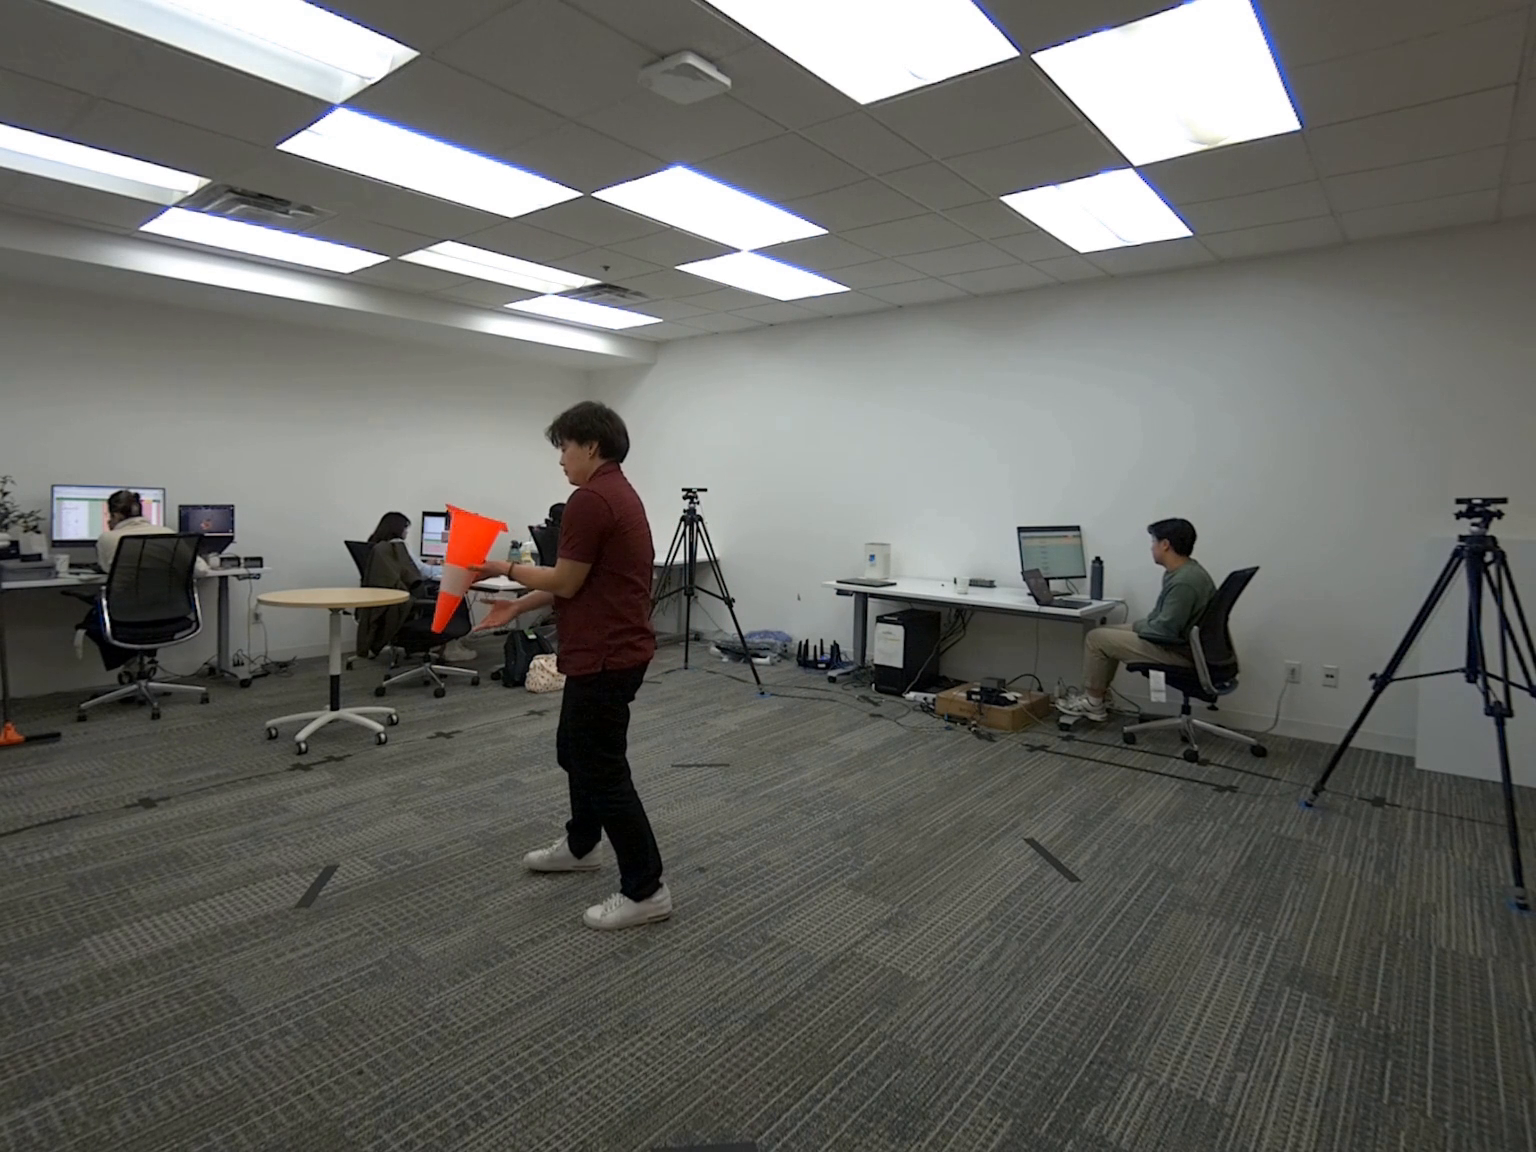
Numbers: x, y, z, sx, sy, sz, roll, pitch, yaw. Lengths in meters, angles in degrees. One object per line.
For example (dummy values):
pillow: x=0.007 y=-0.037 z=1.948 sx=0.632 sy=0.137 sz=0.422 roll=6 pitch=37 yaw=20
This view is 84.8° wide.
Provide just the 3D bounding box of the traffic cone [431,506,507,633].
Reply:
traffic cone: x=-0.995 y=0.000 z=2.695 sx=0.203 sy=0.386 sz=0.203 roll=15 pitch=-11 yaw=-1
